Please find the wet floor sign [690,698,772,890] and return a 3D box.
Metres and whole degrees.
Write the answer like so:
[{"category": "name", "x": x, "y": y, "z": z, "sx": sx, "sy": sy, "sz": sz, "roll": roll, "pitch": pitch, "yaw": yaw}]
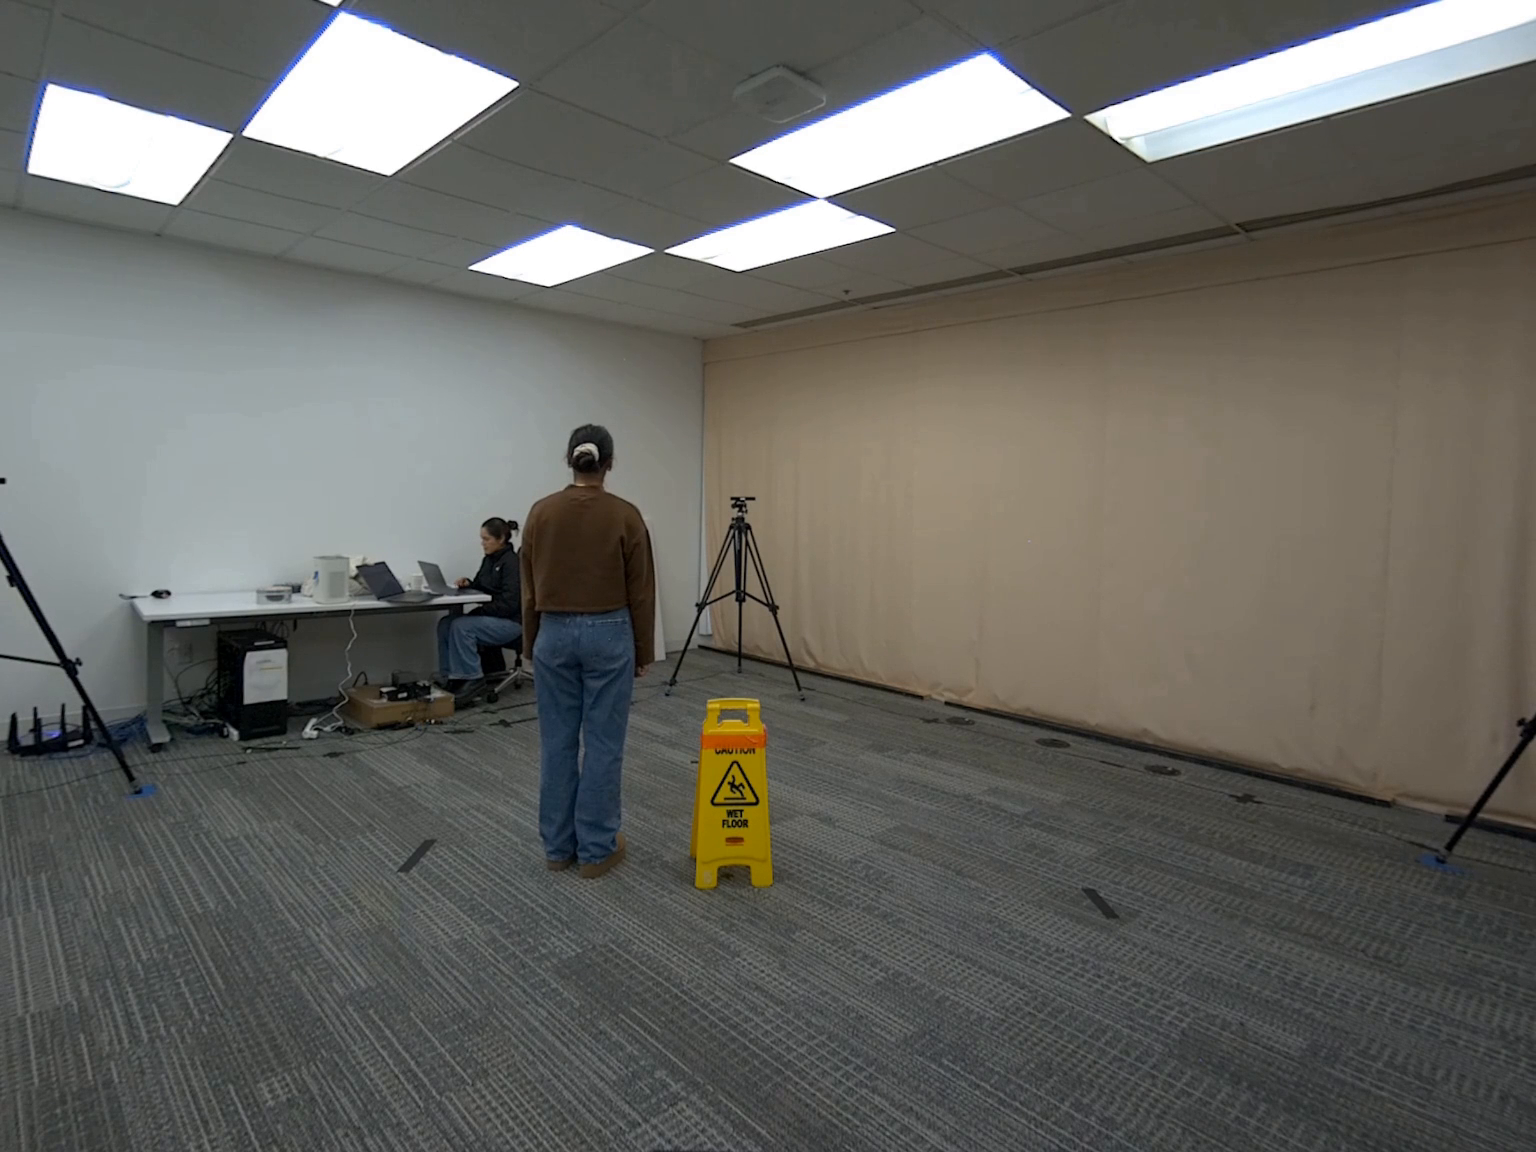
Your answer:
[{"category": "wet floor sign", "x": -0.143, "y": 0.778, "z": 3.131, "sx": 0.280, "sy": 0.644, "sz": 0.292, "roll": 2, "pitch": 3, "yaw": -9}]
